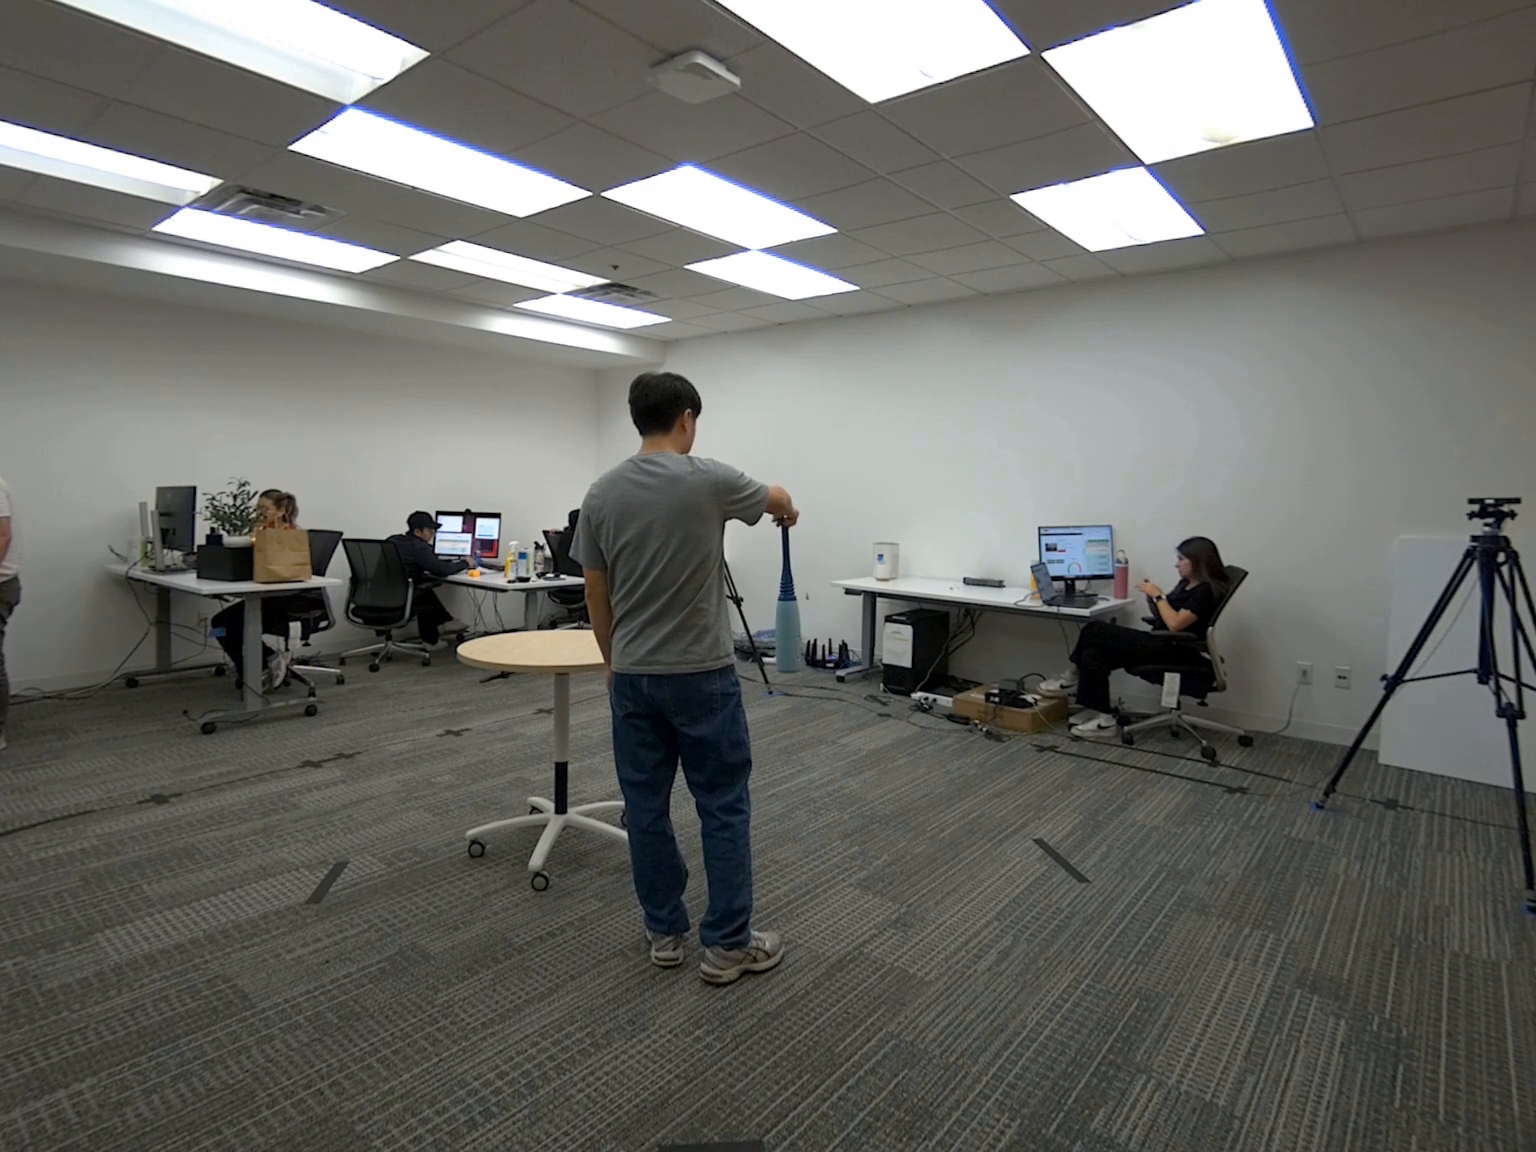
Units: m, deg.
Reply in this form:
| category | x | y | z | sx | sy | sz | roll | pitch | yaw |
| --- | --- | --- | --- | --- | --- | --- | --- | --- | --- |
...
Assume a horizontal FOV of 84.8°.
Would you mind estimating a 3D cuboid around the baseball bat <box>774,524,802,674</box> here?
| category | x | y | z | sx | sy | sz | roll | pitch | yaw |
| --- | --- | --- | --- | --- | --- | --- | --- | --- | --- |
| baseball bat | 0.060 | 0.065 | 2.979 | 0.089 | 0.544 | 0.089 | 1 | -2 | -2 |
